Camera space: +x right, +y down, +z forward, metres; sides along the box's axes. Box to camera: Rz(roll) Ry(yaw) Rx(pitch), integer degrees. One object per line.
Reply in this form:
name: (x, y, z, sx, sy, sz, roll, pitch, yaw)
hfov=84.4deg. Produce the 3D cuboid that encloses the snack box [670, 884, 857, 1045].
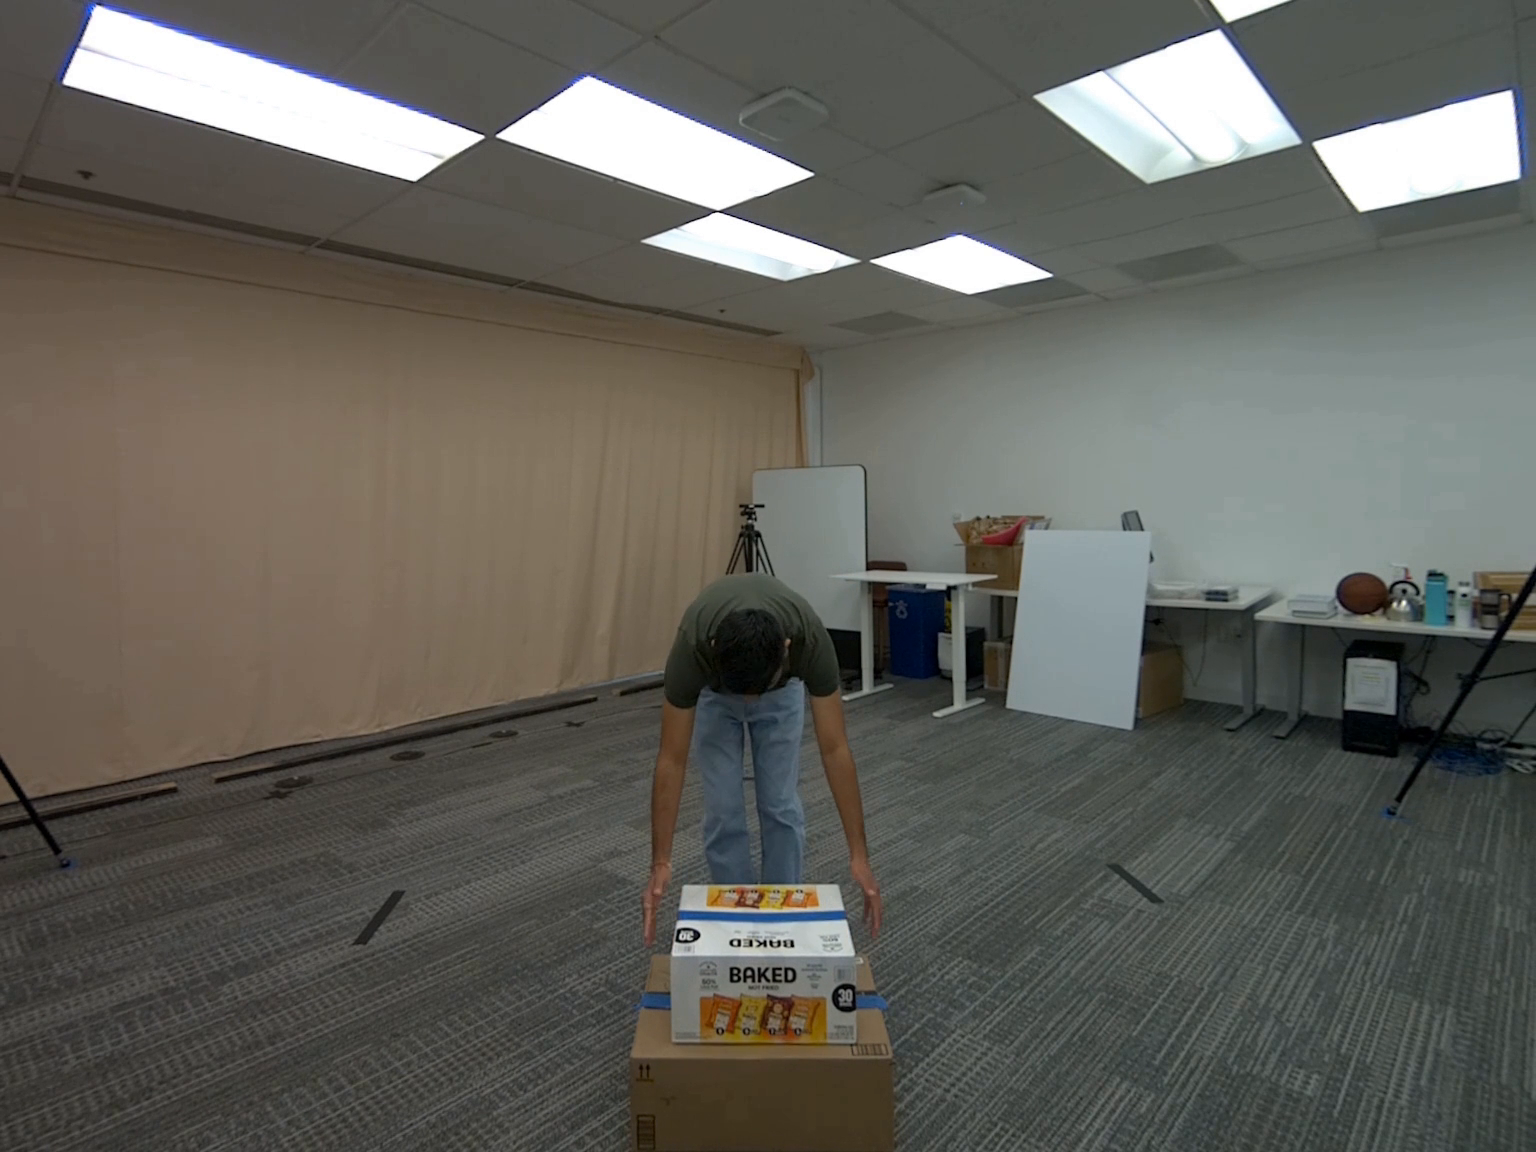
snack box: (-0.011, 0.909, 1.999, 0.406, 0.205, 0.340, -1, 4, 1)
